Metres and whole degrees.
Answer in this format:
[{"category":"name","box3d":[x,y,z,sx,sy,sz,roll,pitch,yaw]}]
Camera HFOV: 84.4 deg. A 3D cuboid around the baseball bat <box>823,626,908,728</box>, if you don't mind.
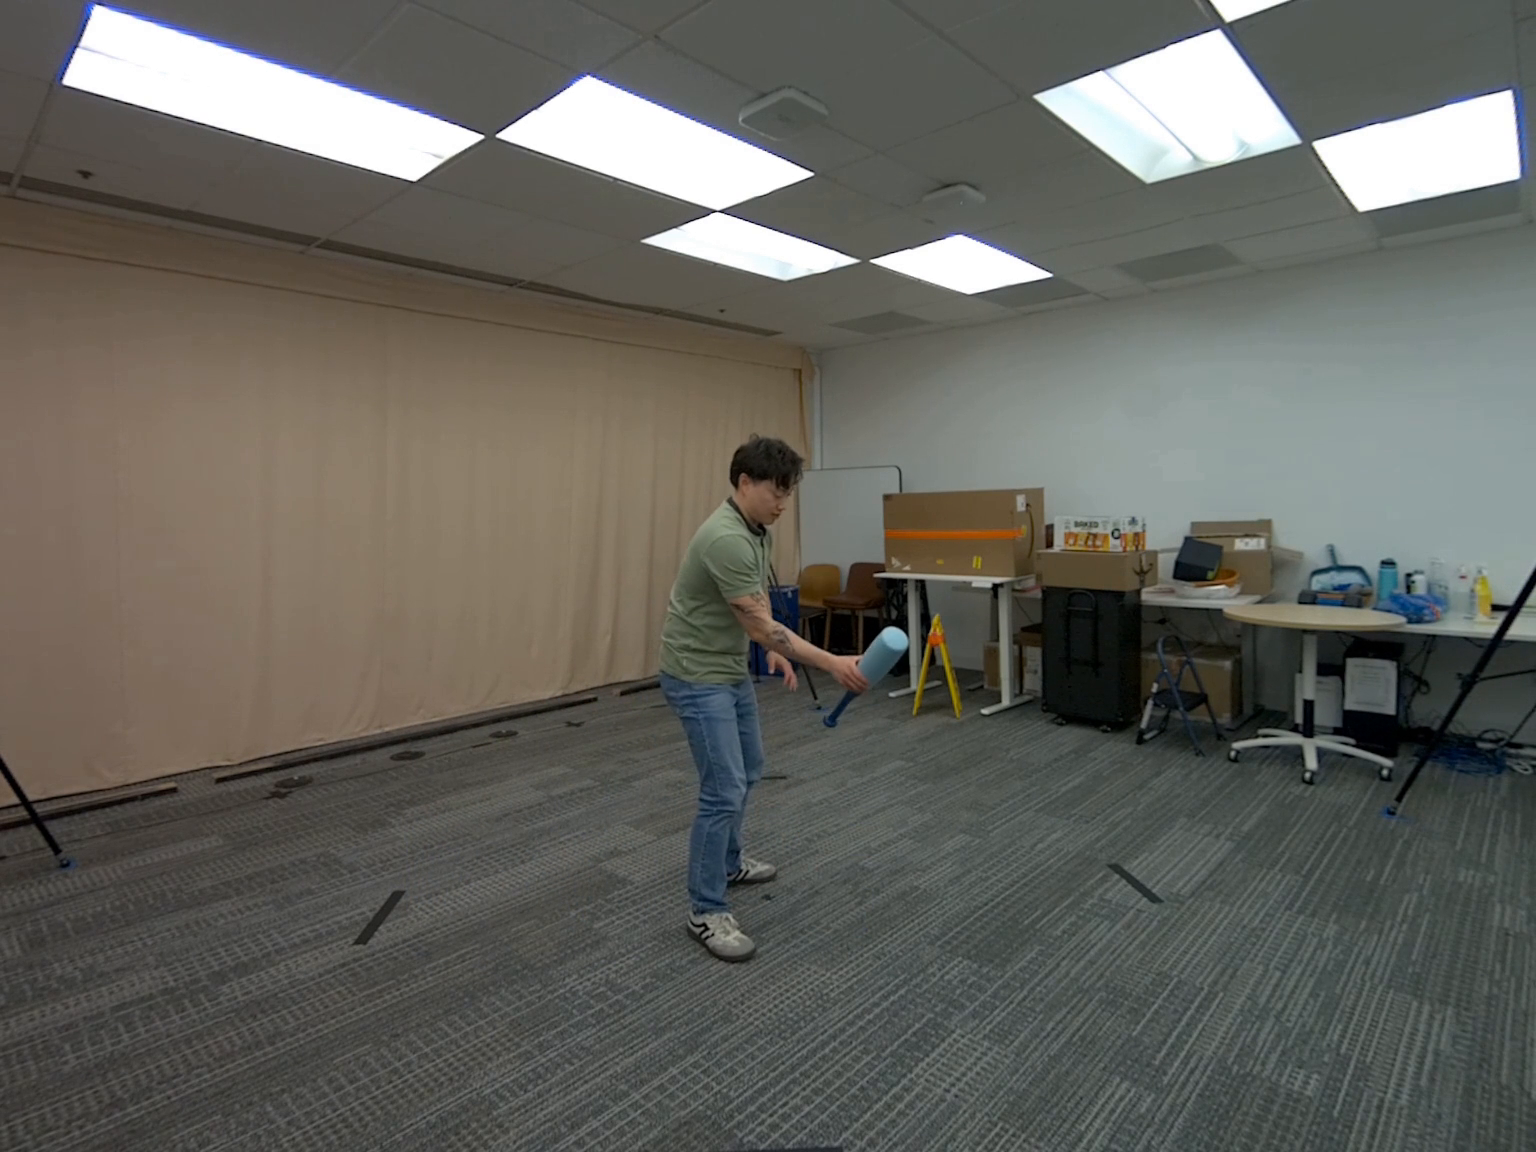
[{"category":"baseball bat","box3d":[0.281,0.343,2.599,0.087,0.091,0.541,-1,-36,-22]}]
